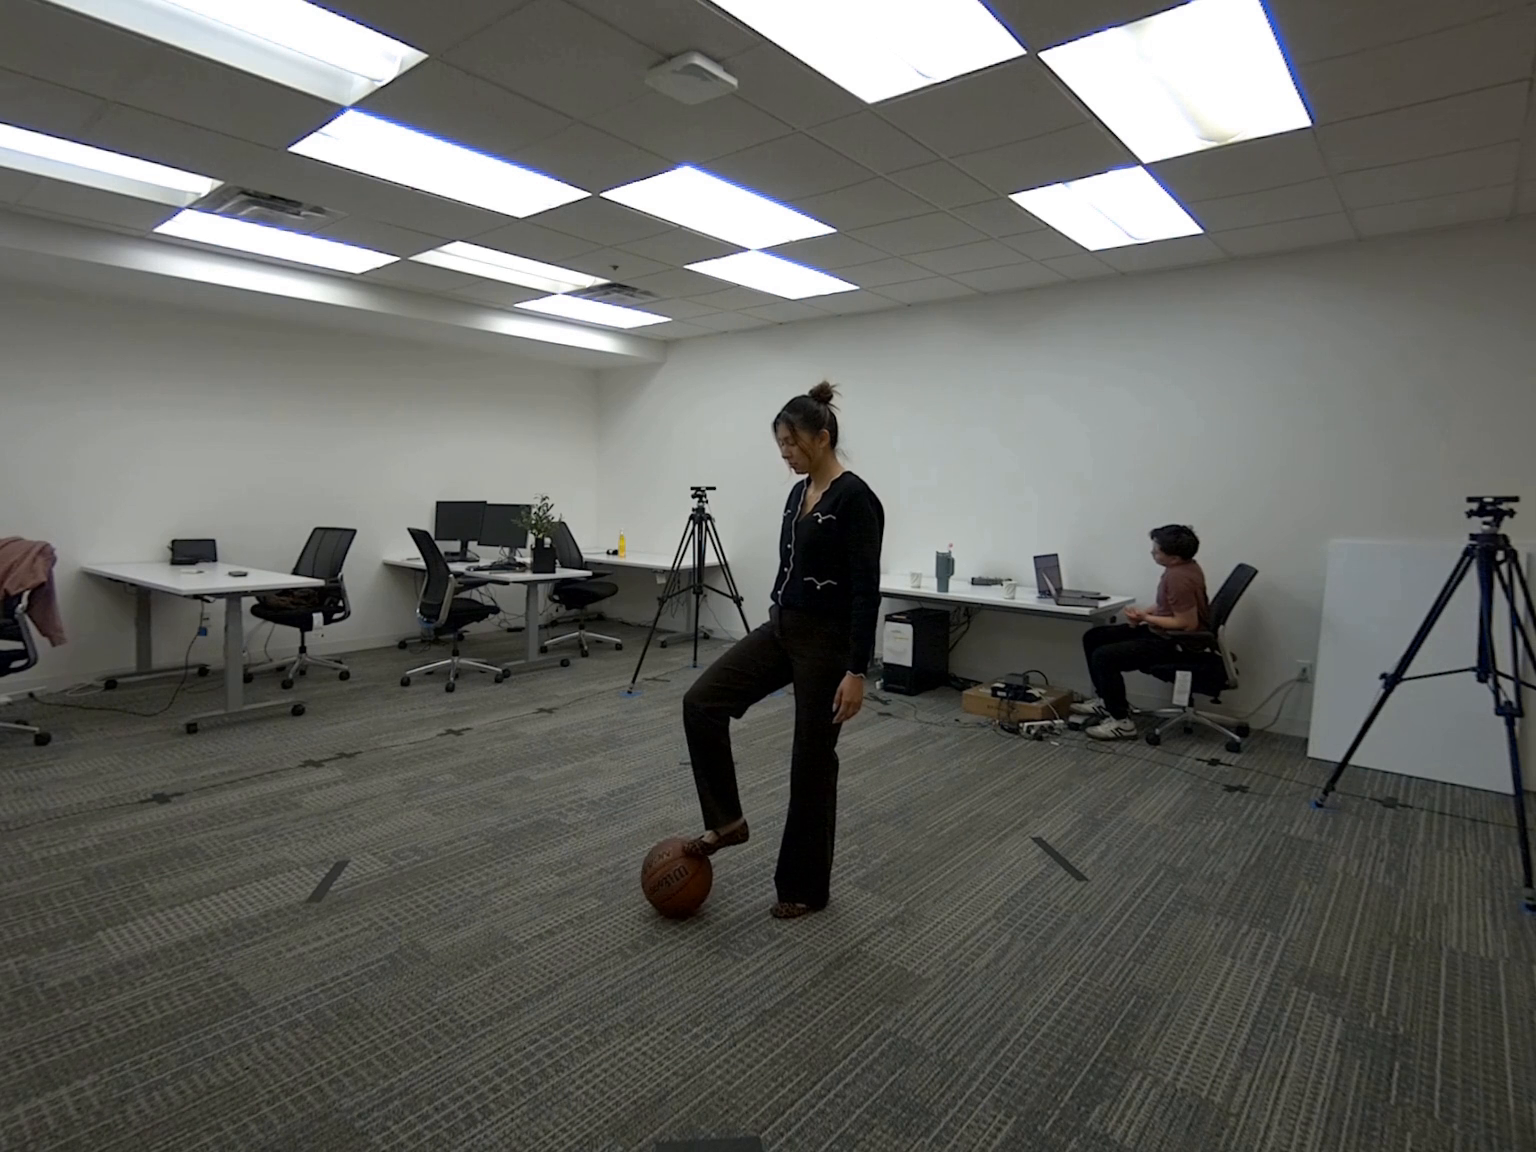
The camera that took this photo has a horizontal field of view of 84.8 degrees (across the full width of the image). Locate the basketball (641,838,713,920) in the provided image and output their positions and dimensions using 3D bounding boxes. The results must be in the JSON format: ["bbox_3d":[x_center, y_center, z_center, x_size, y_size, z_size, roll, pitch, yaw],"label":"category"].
[{"bbox_3d":[-0.303,0.977,2.796,0.235,0.235,0.237,1,4,-2],"label":"basketball"}]
